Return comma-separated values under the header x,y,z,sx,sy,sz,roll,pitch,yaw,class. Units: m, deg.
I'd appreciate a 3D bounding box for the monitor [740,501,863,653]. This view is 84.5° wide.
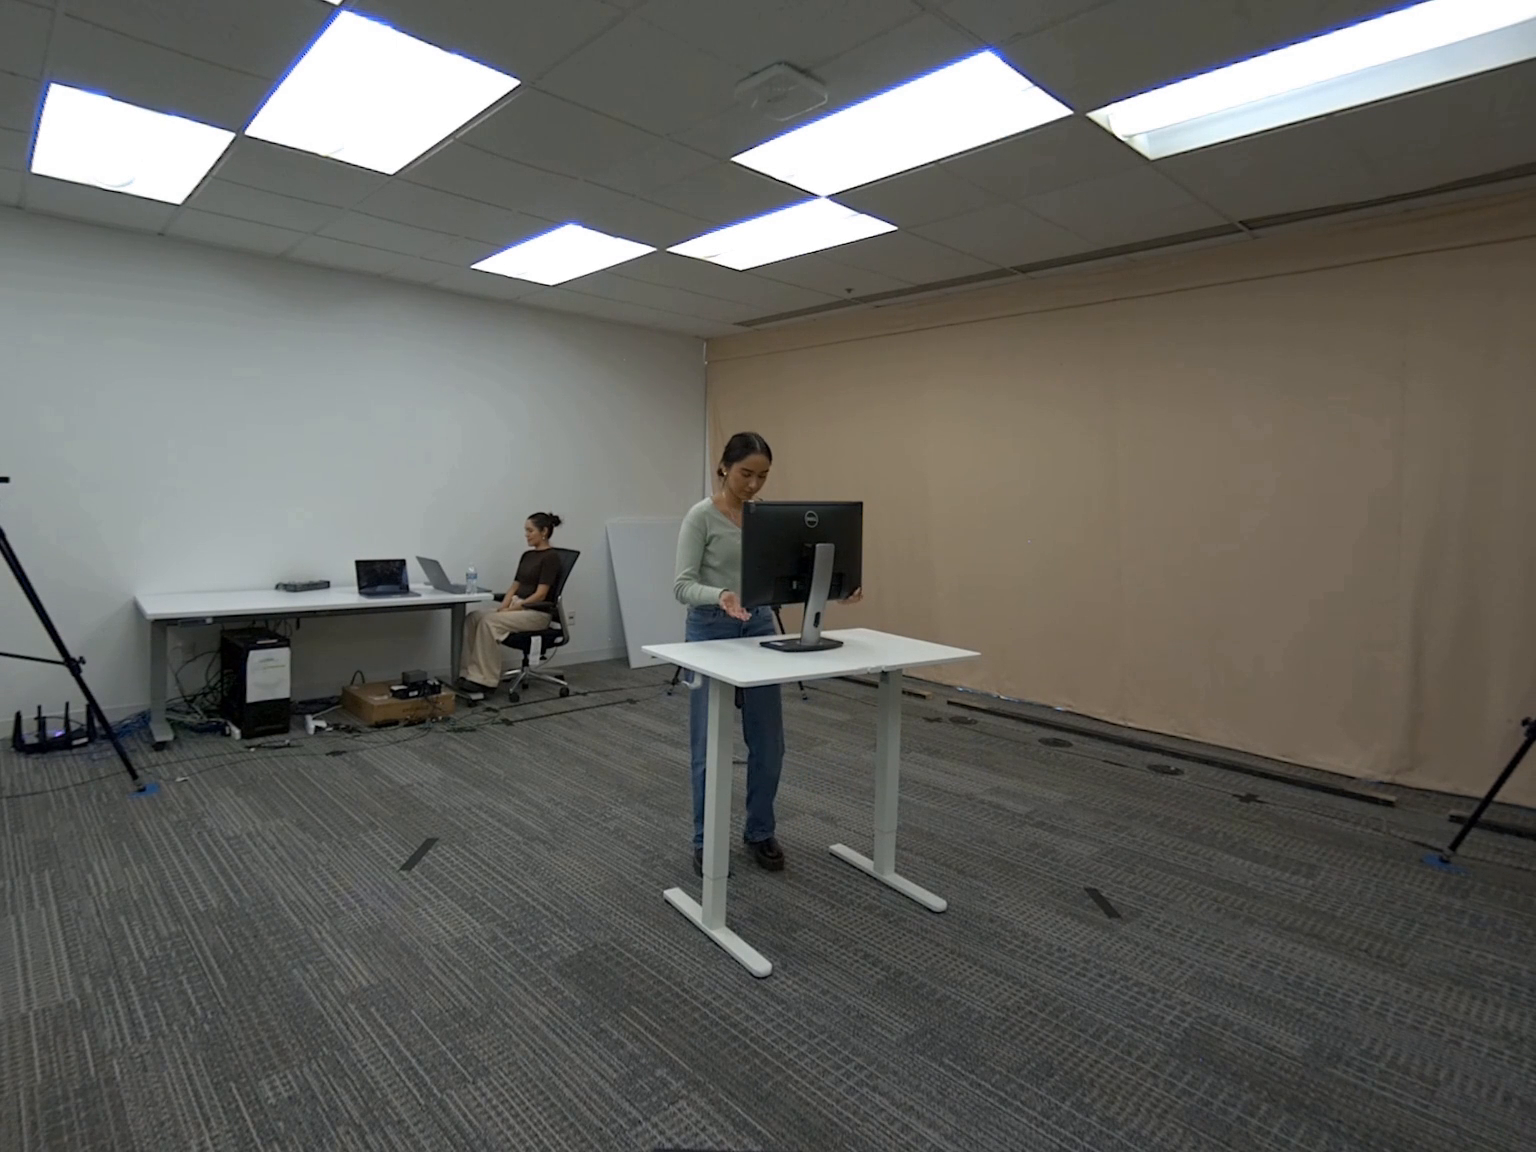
x,y,z,sx,sy,sz,roll,pitch,yaw,class
0.134,0.003,2.898,0.527,0.522,0.191,-2,1,-39,monitor
